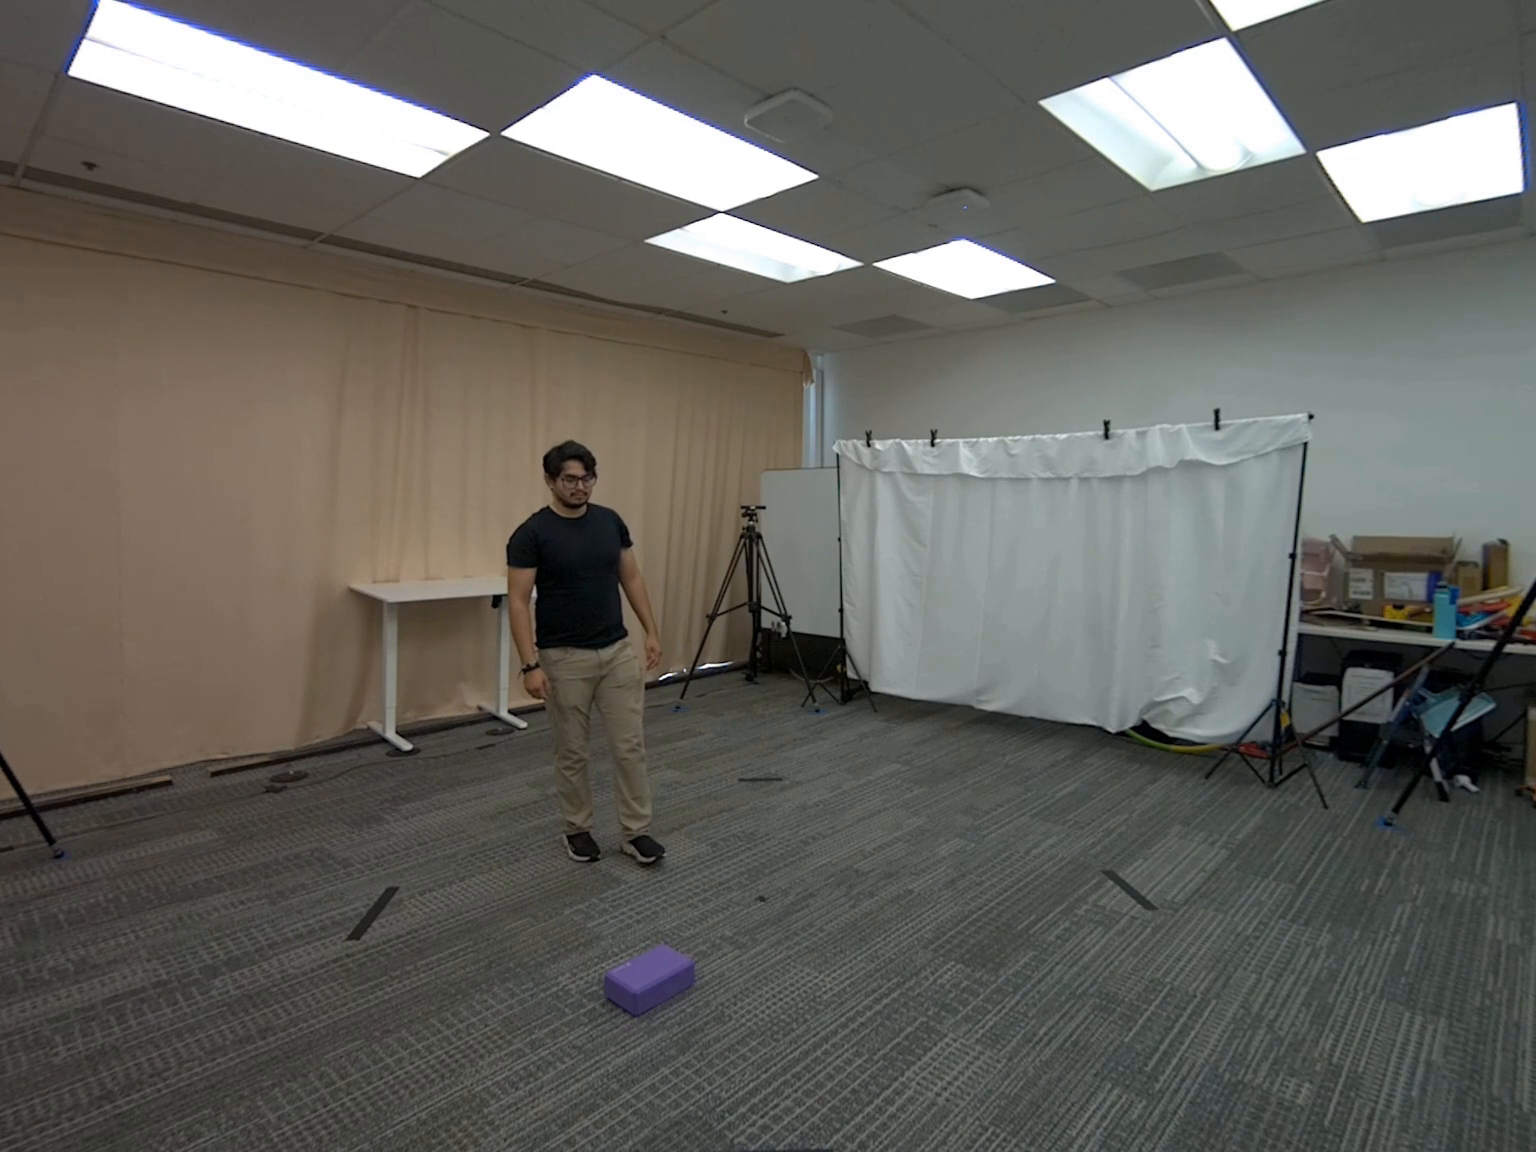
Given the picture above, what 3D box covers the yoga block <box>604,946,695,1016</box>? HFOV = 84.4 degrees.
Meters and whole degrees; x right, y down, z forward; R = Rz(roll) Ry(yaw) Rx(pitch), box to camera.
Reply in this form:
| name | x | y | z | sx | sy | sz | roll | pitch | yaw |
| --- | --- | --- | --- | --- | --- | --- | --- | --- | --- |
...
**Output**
| name | x | y | z | sx | sy | sz | roll | pitch | yaw |
| --- | --- | --- | --- | --- | --- | --- | --- | --- | --- |
| yoga block | -0.336 | 1.155 | 2.410 | 0.154 | 0.076 | 0.222 | 5 | 7 | 43 |
